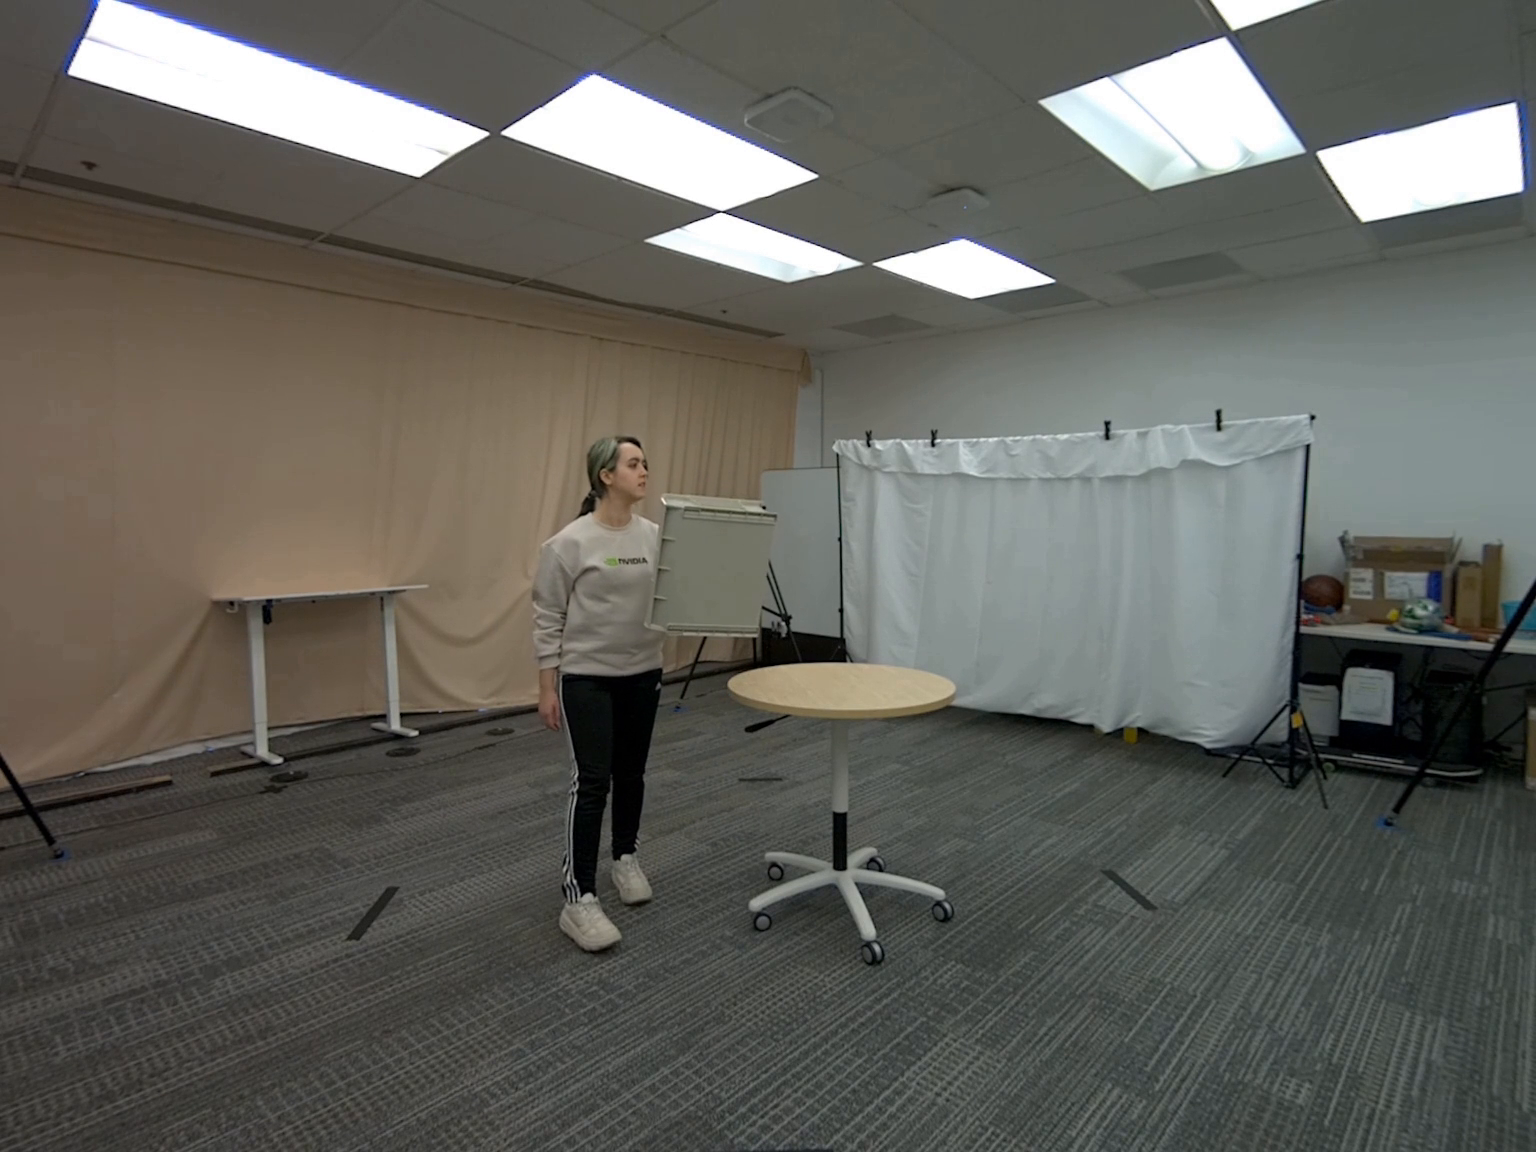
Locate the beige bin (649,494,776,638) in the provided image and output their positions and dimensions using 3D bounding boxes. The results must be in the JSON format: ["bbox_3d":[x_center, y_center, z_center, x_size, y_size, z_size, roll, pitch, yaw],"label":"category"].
[{"bbox_3d":[-0.189,-0.036,2.717,0.369,0.420,0.194,4,11,-20],"label":"beige bin"}]
